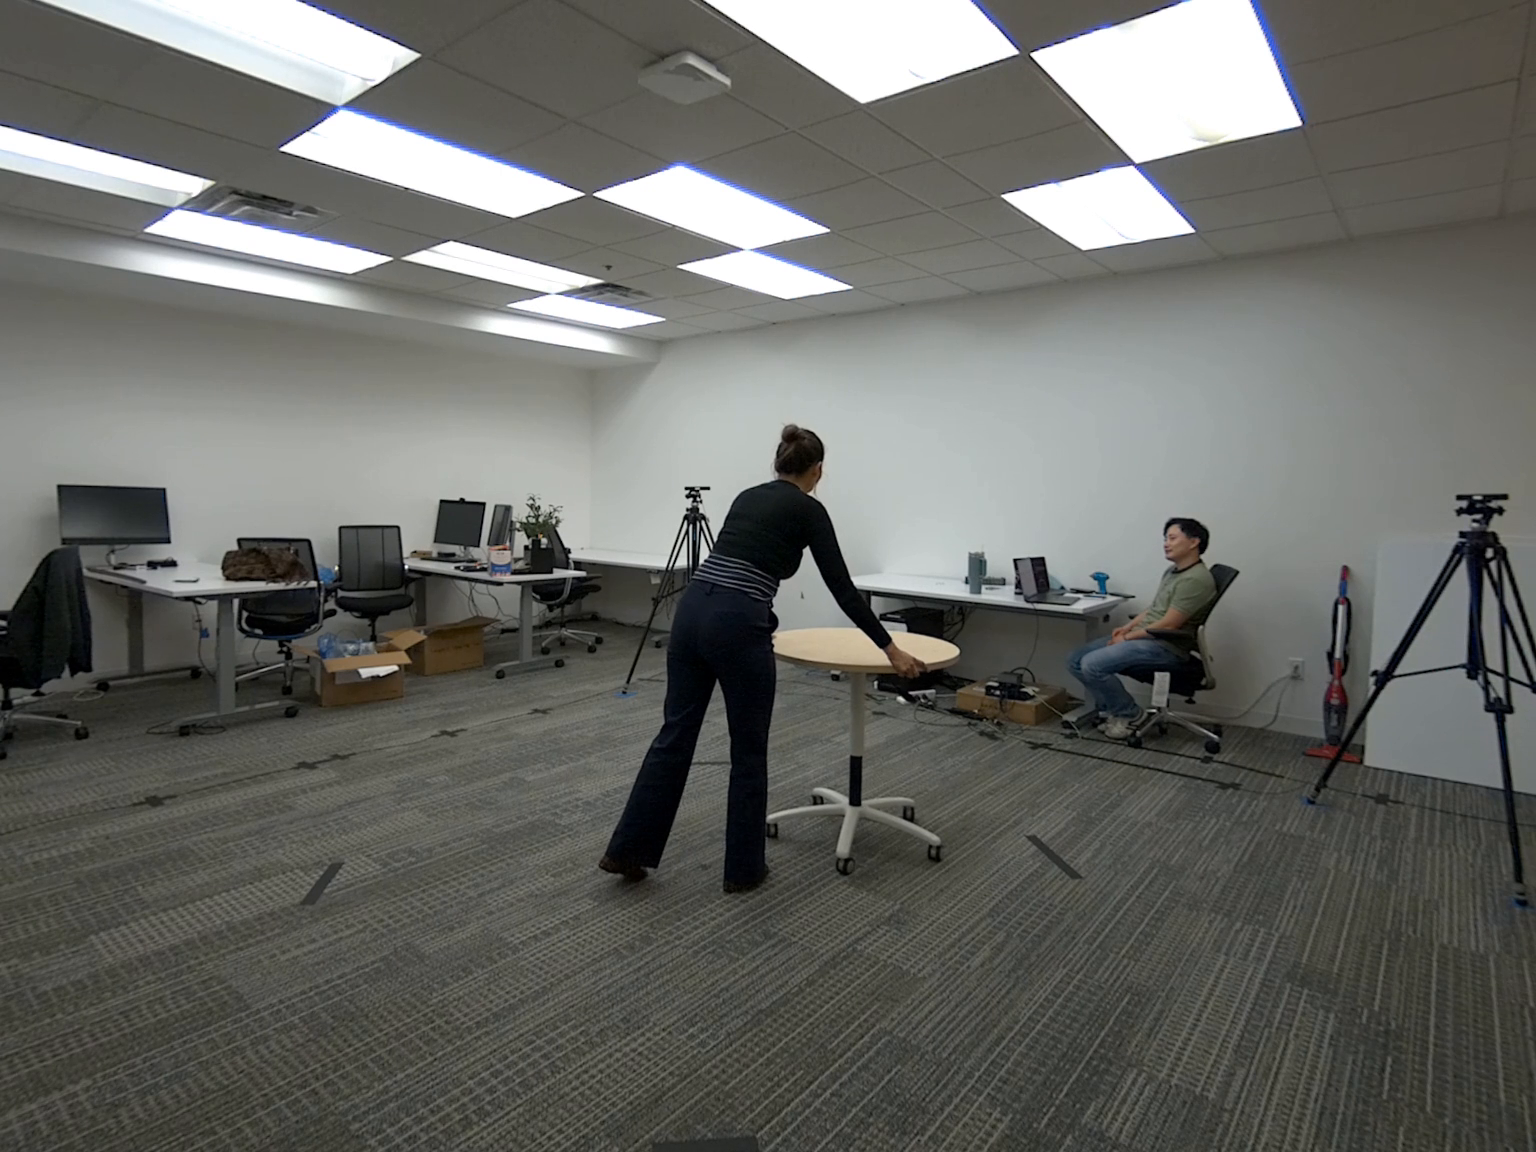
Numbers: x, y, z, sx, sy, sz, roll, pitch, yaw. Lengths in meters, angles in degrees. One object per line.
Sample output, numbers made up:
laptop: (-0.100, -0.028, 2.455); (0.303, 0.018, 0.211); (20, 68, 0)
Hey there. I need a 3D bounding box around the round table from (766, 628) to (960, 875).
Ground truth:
round table: (0.337, 0.659, 3.380); (0.763, 0.791, 0.768); (1, 4, -2)
